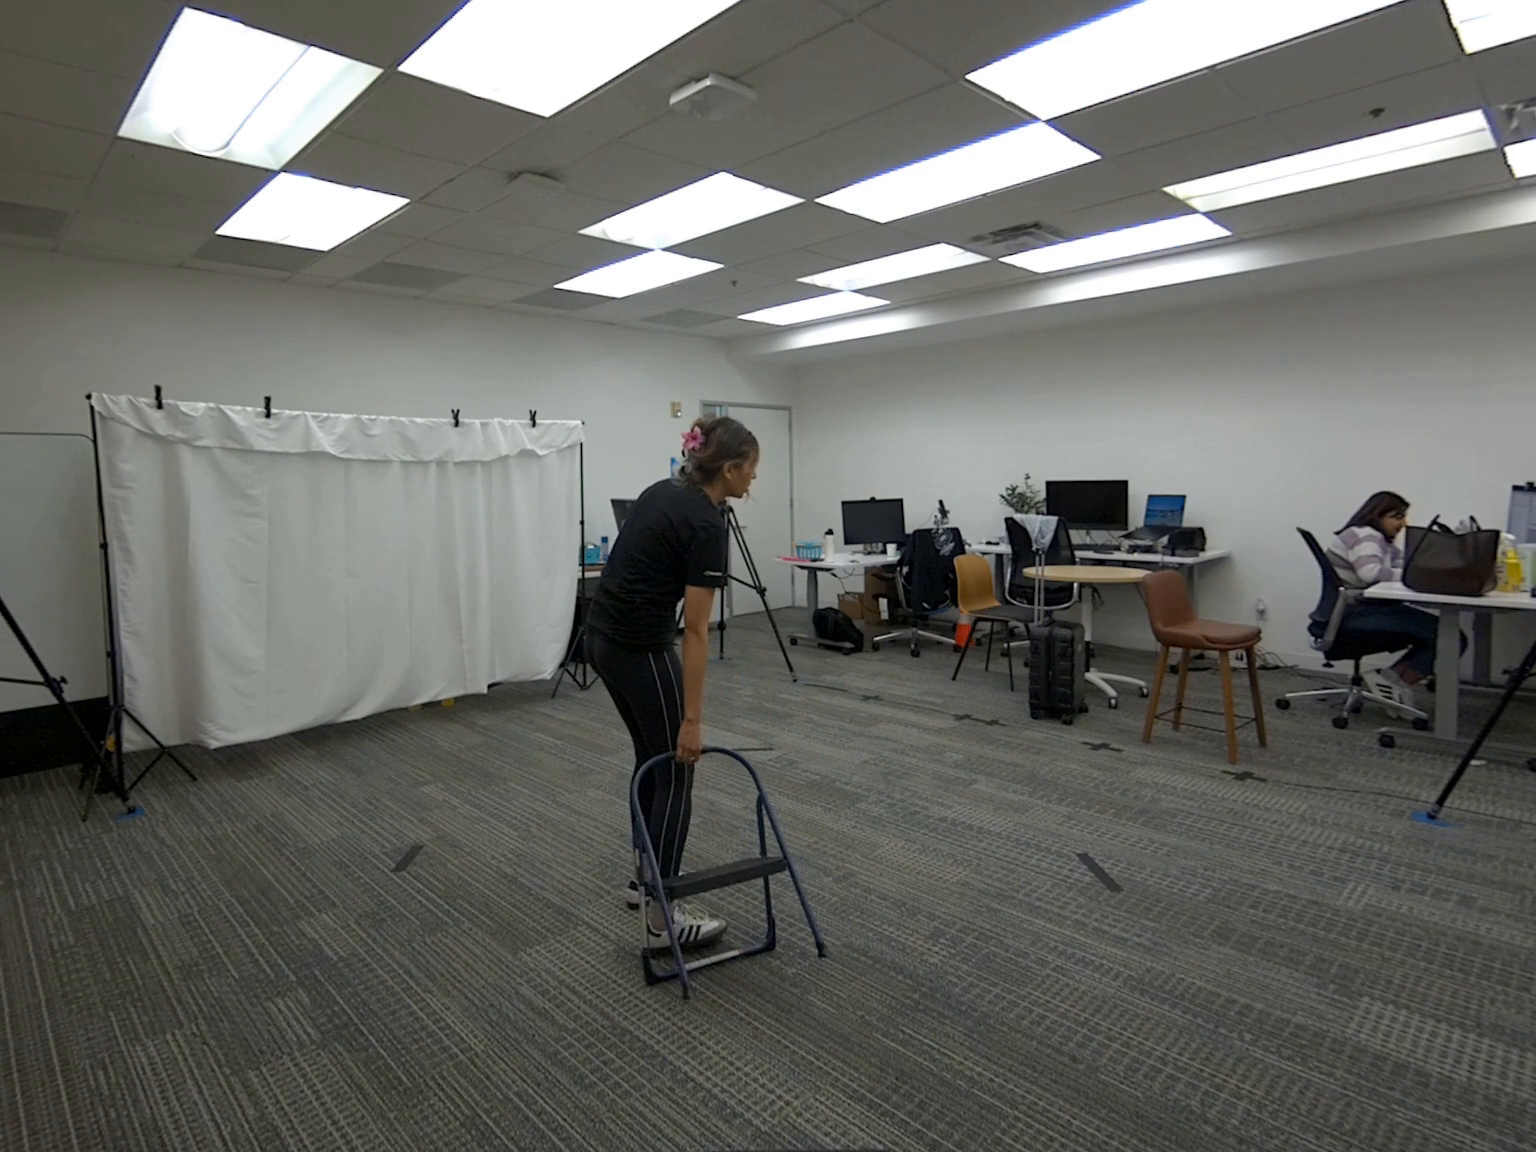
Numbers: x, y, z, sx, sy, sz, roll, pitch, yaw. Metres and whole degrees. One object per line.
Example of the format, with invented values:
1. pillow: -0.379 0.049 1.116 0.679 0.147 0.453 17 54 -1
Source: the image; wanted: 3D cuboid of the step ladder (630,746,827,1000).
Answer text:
1. step ladder: -0.144 0.787 2.422 0.421 0.618 0.350 -3 -20 -27
